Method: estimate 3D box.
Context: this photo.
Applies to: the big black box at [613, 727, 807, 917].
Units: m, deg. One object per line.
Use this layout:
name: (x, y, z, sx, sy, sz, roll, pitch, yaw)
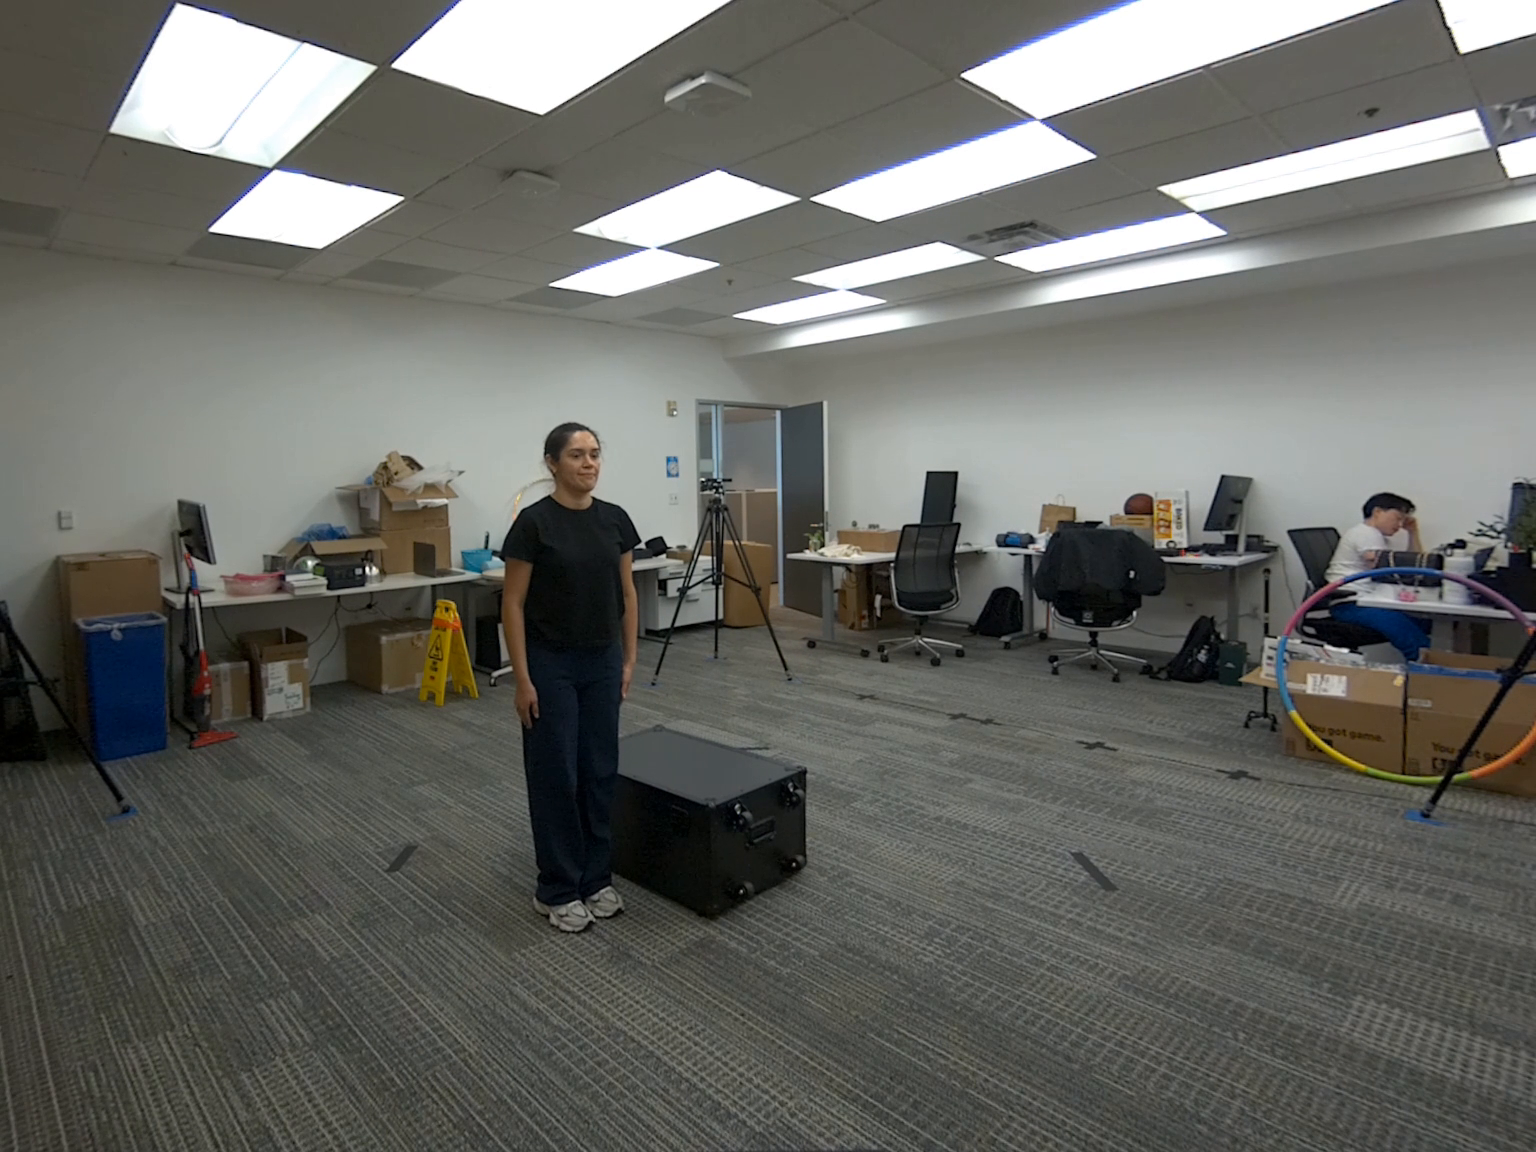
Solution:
big black box: (-0.291, 0.858, 3.113, 0.888, 0.394, 0.508, 4, 8, 42)
